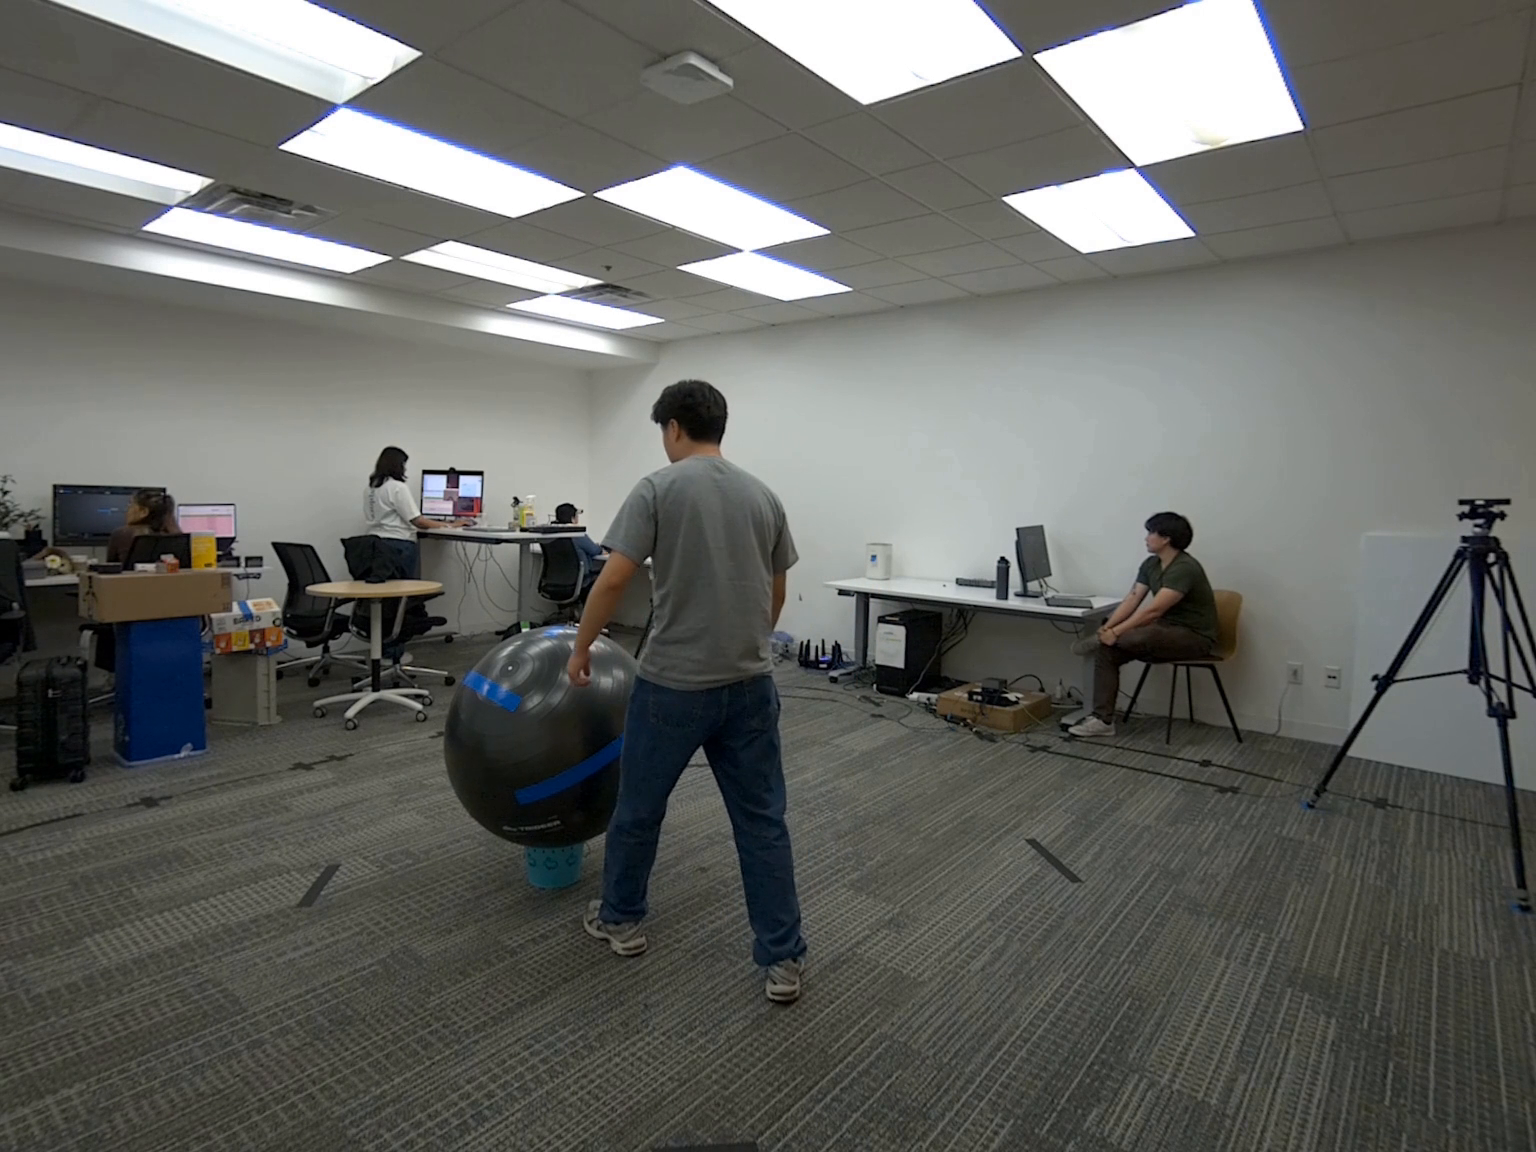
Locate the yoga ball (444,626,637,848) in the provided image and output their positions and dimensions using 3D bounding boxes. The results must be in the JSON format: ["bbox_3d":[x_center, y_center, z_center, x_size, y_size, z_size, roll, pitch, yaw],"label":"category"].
[{"bbox_3d":[-0.767,0.565,3.005,0.757,0.755,0.762,1,4,-2],"label":"yoga ball"}]
